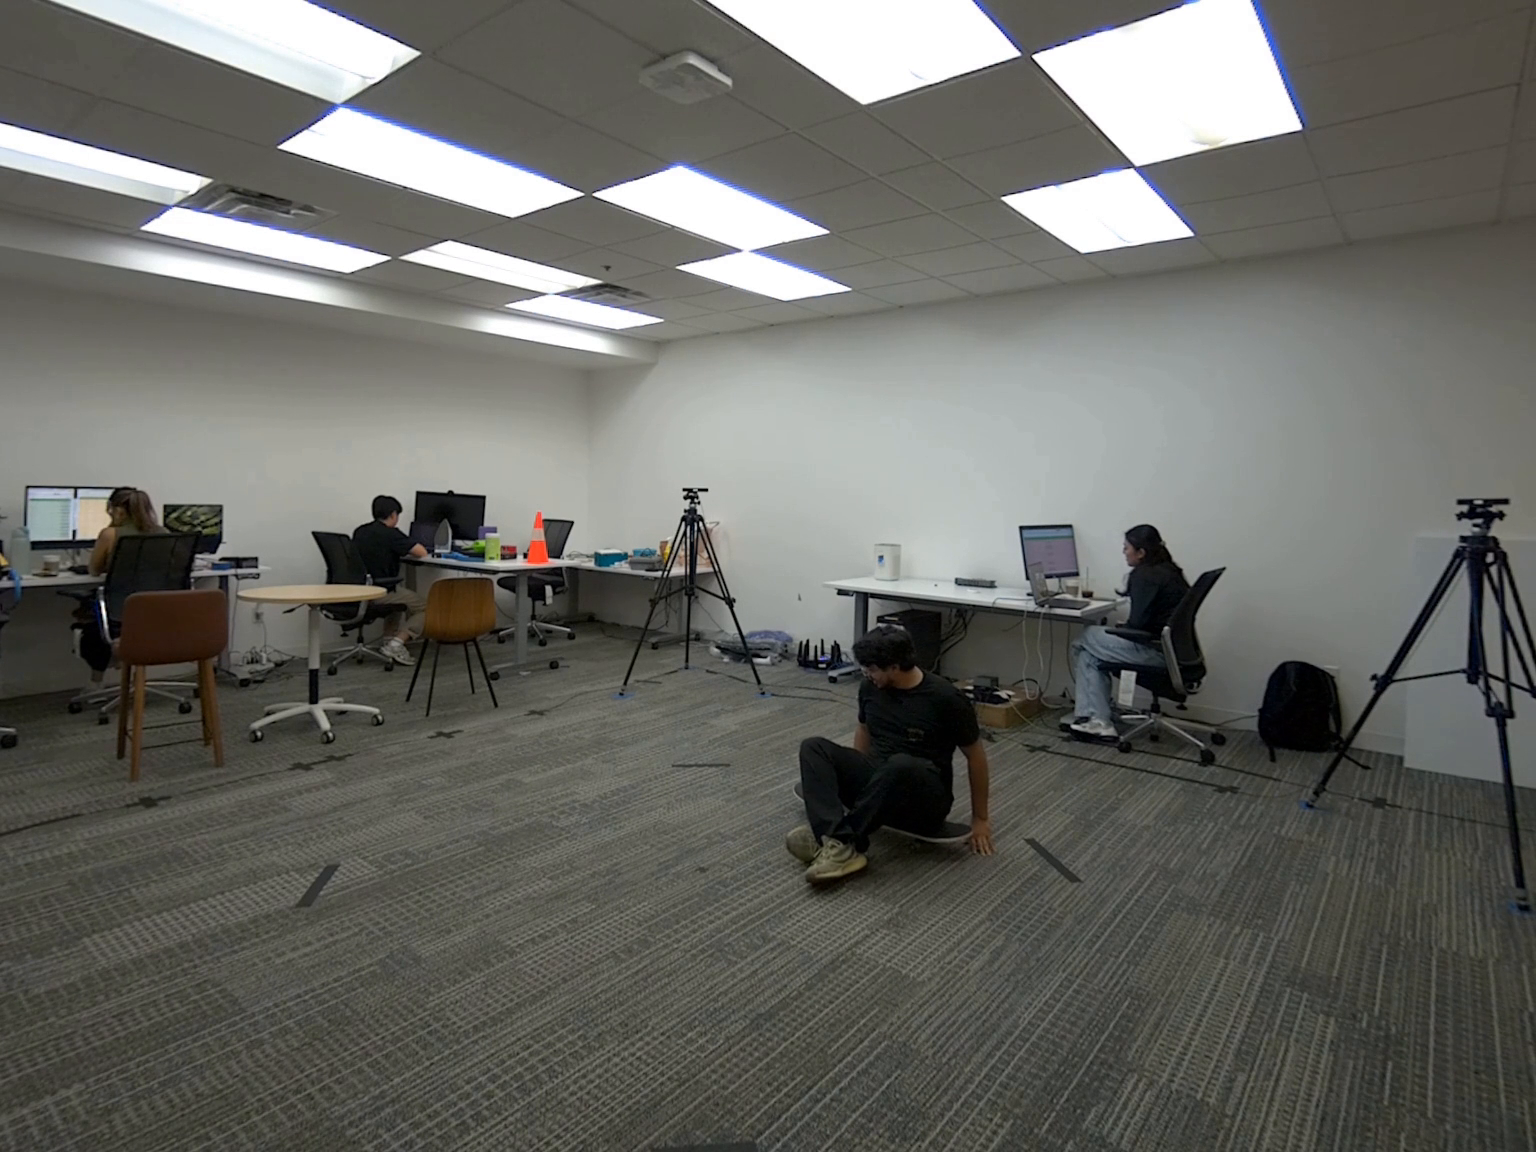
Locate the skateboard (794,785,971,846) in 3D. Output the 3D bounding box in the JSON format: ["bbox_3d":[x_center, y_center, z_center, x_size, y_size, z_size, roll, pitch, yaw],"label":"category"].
[{"bbox_3d":[0.431,0.988,3.472,0.813,0.109,0.188,7,10,41],"label":"skateboard"}]
